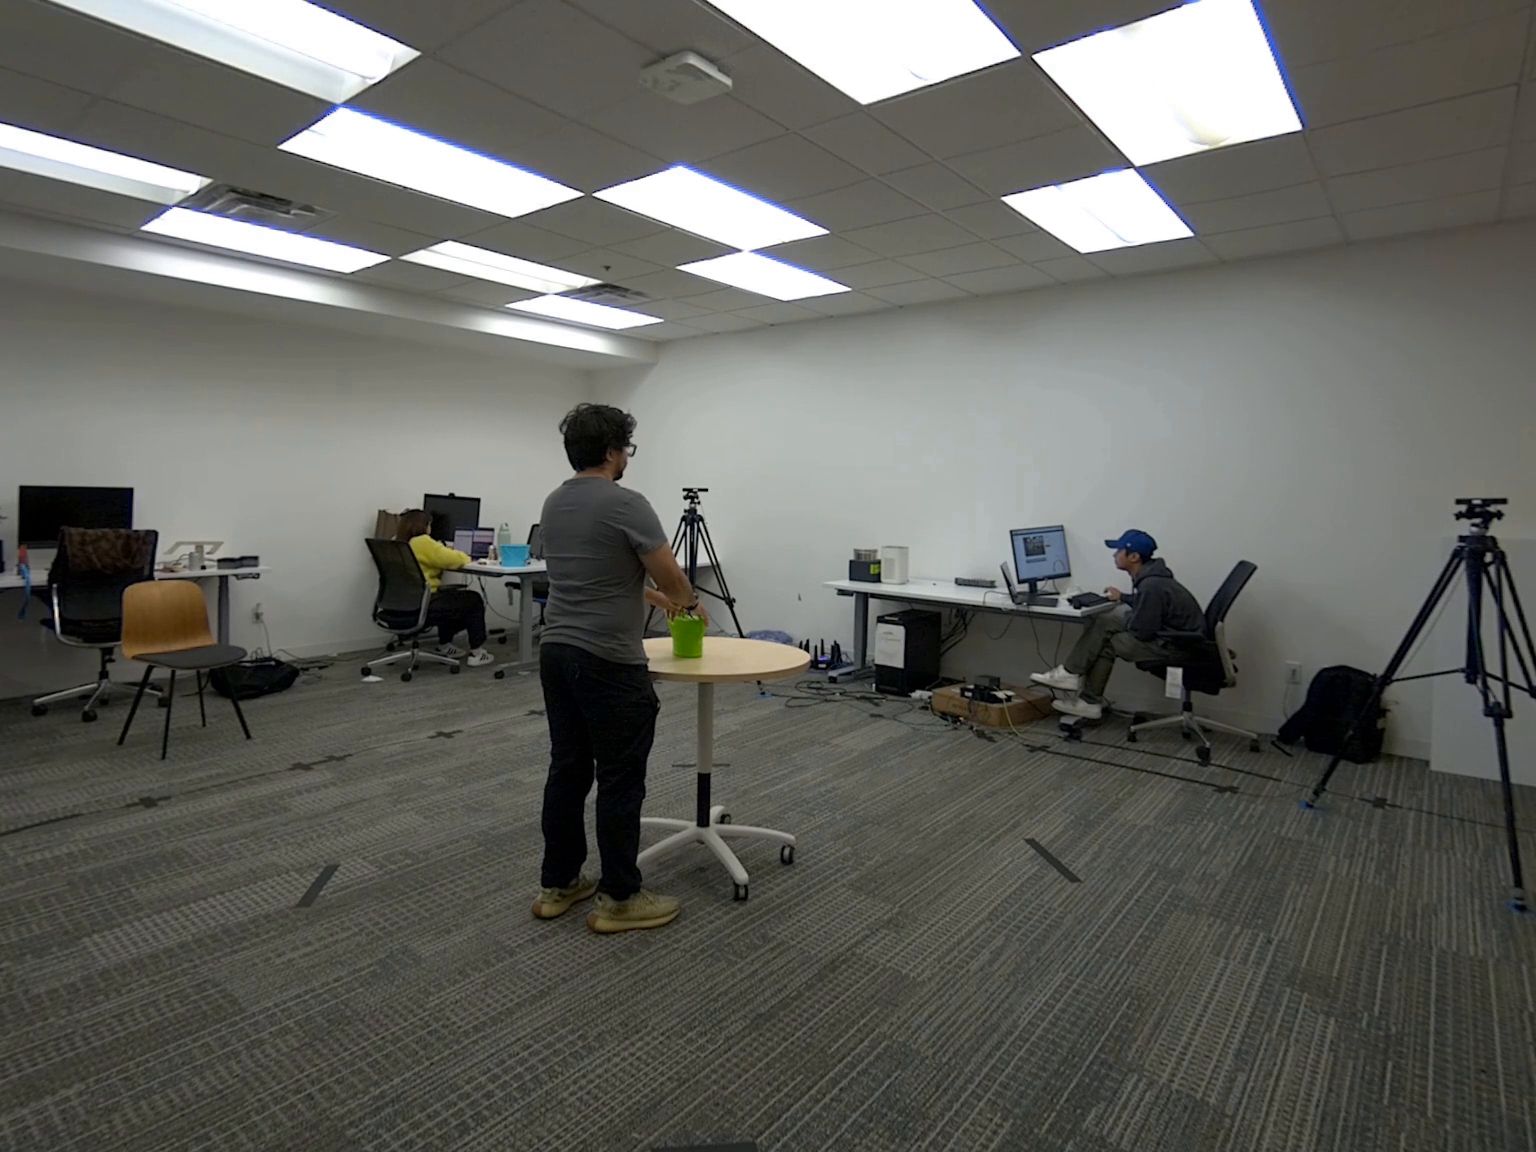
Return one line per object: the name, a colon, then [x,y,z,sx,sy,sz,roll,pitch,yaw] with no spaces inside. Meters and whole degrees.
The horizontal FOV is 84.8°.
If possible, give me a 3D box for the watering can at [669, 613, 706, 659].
watering can: [-0.324,0.195,3.130,0.095,0.176,0.287,-2,7,-28]
